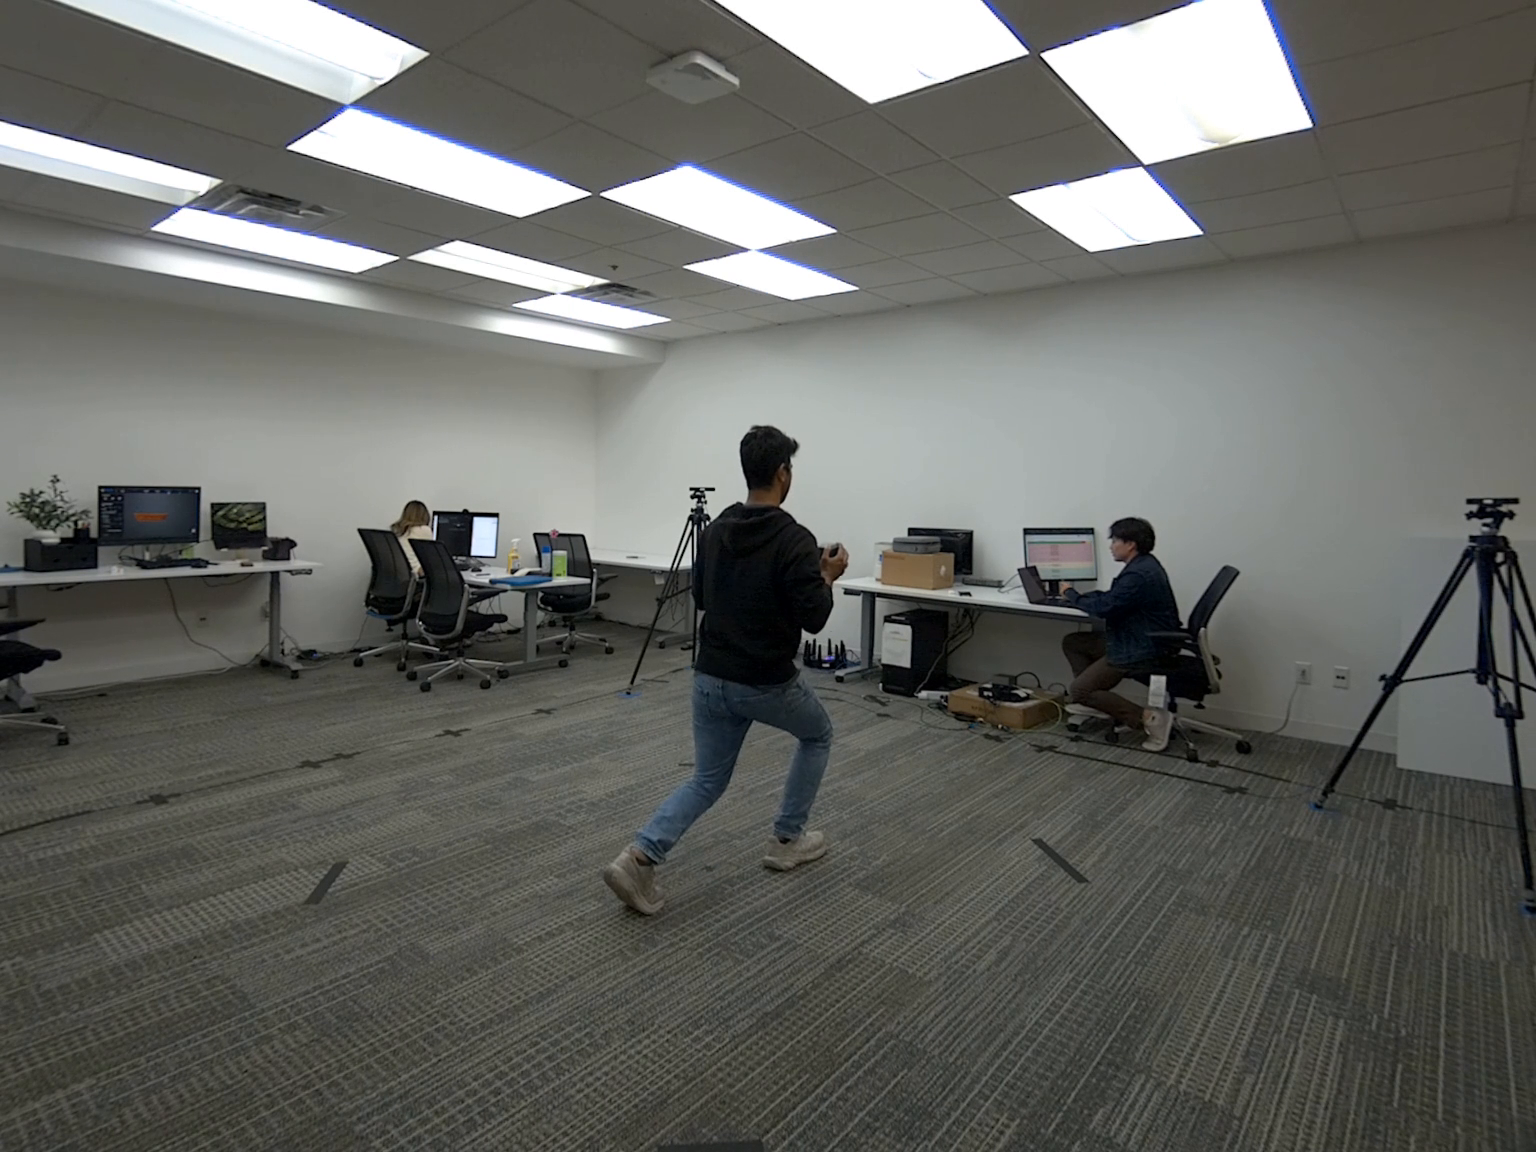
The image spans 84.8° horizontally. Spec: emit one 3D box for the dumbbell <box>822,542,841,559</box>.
[{"bbox_3d":[0.130,-0.067,3.211,0.303,0.124,0.104,5,-13,45],"label":"dumbbell"}]
